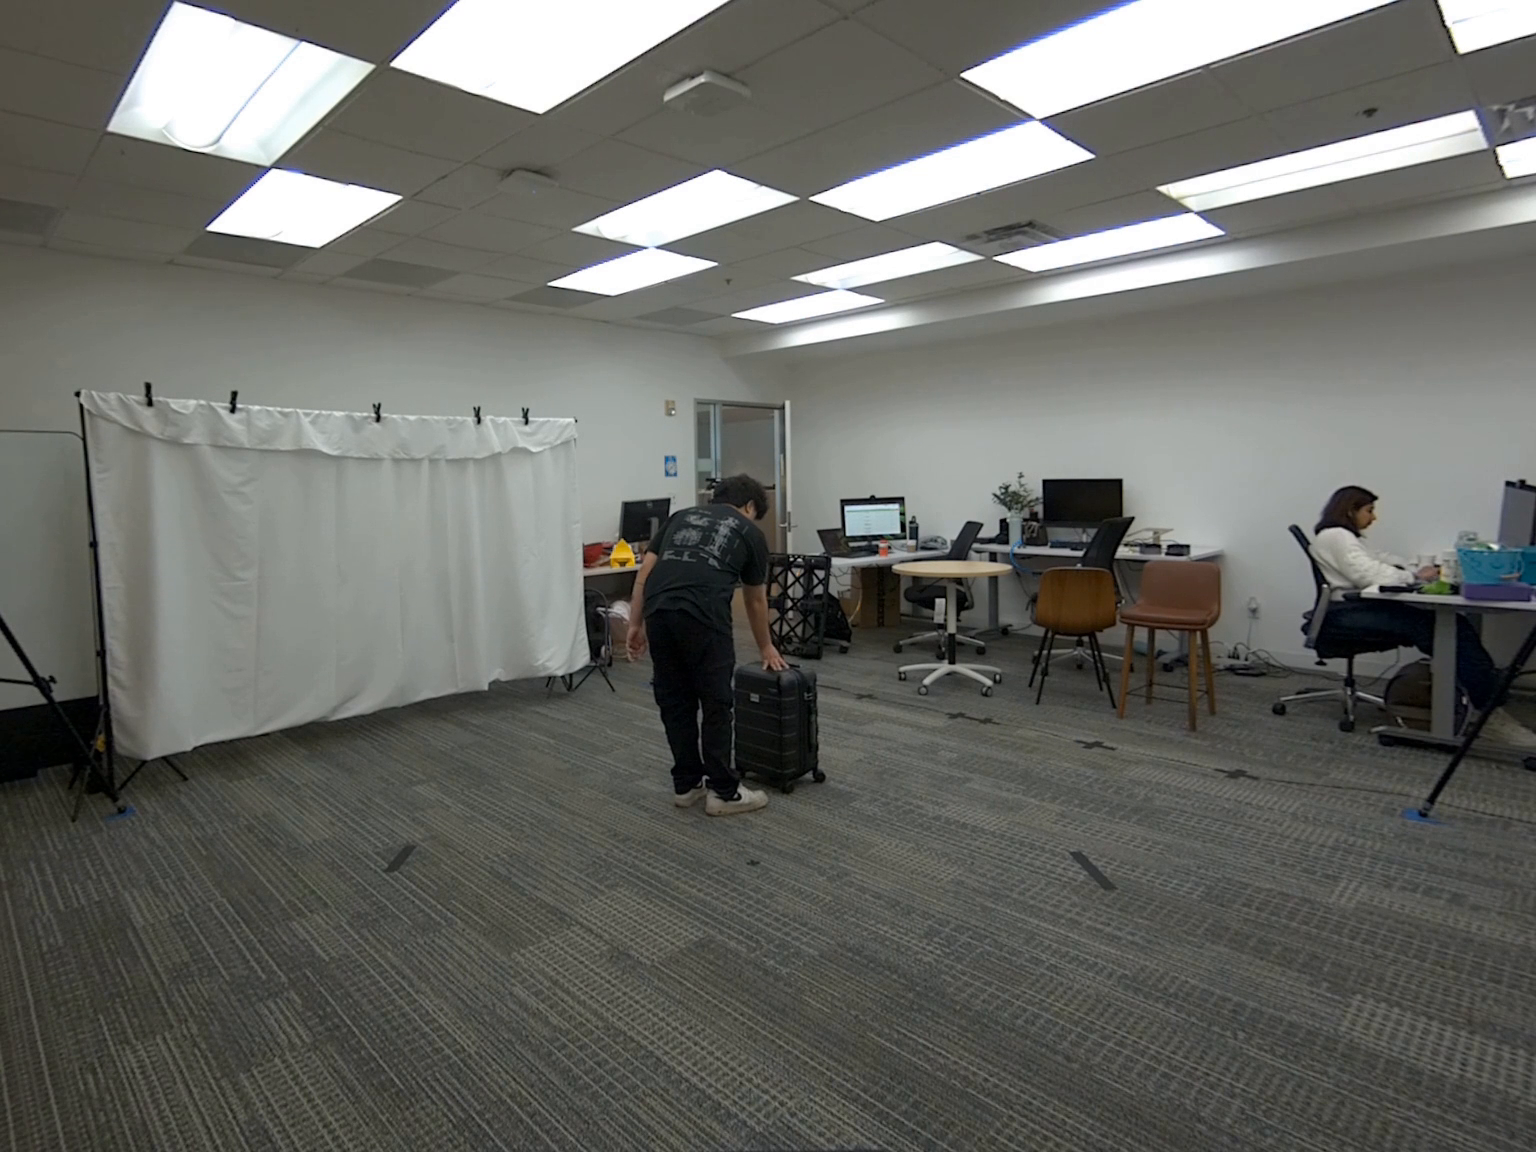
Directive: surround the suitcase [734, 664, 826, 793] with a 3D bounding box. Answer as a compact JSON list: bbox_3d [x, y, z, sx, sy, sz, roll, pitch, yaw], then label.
[{"bbox_3d":[0.041,0.675,3.943,0.387,0.547,0.242,5,8,43],"label":"suitcase"}]
